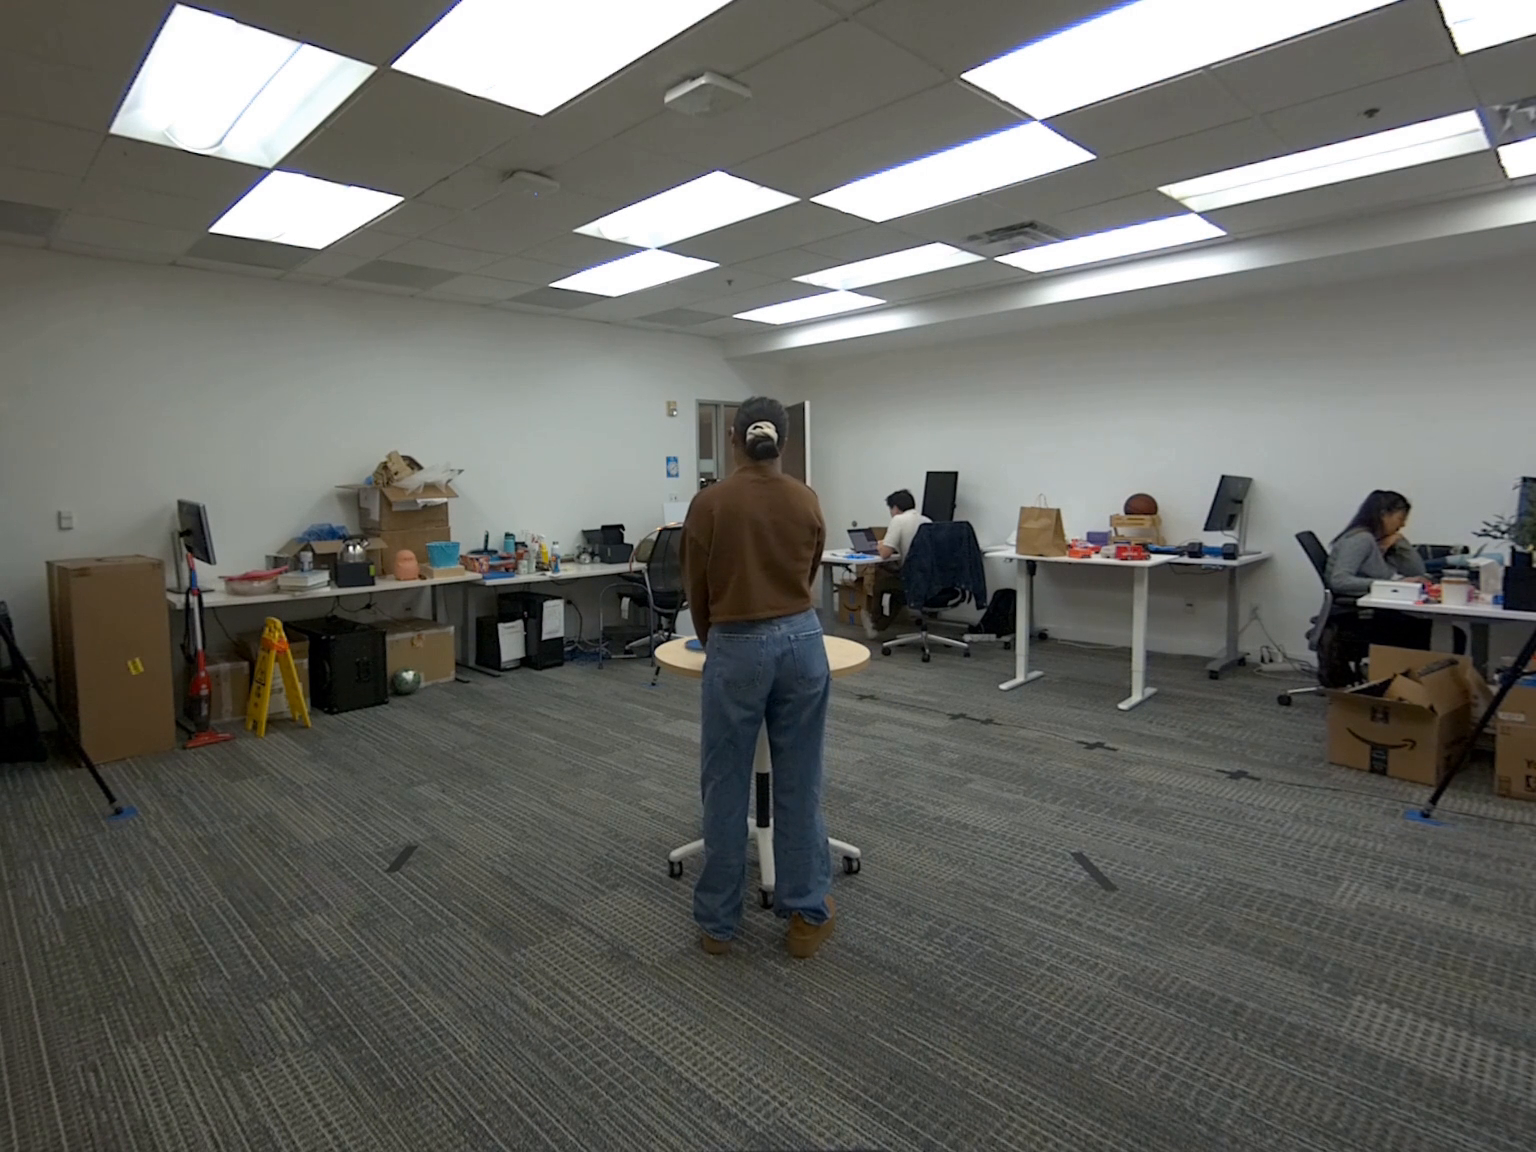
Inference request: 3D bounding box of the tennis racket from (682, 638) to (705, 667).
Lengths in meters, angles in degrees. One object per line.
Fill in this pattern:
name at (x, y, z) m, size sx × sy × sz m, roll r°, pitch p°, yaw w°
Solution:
tennis racket at (-0.171, 0.262, 3.046) m, size 0.211 × 0.032 × 0.439 m, roll -1°, pitch 4°, yaw -12°
